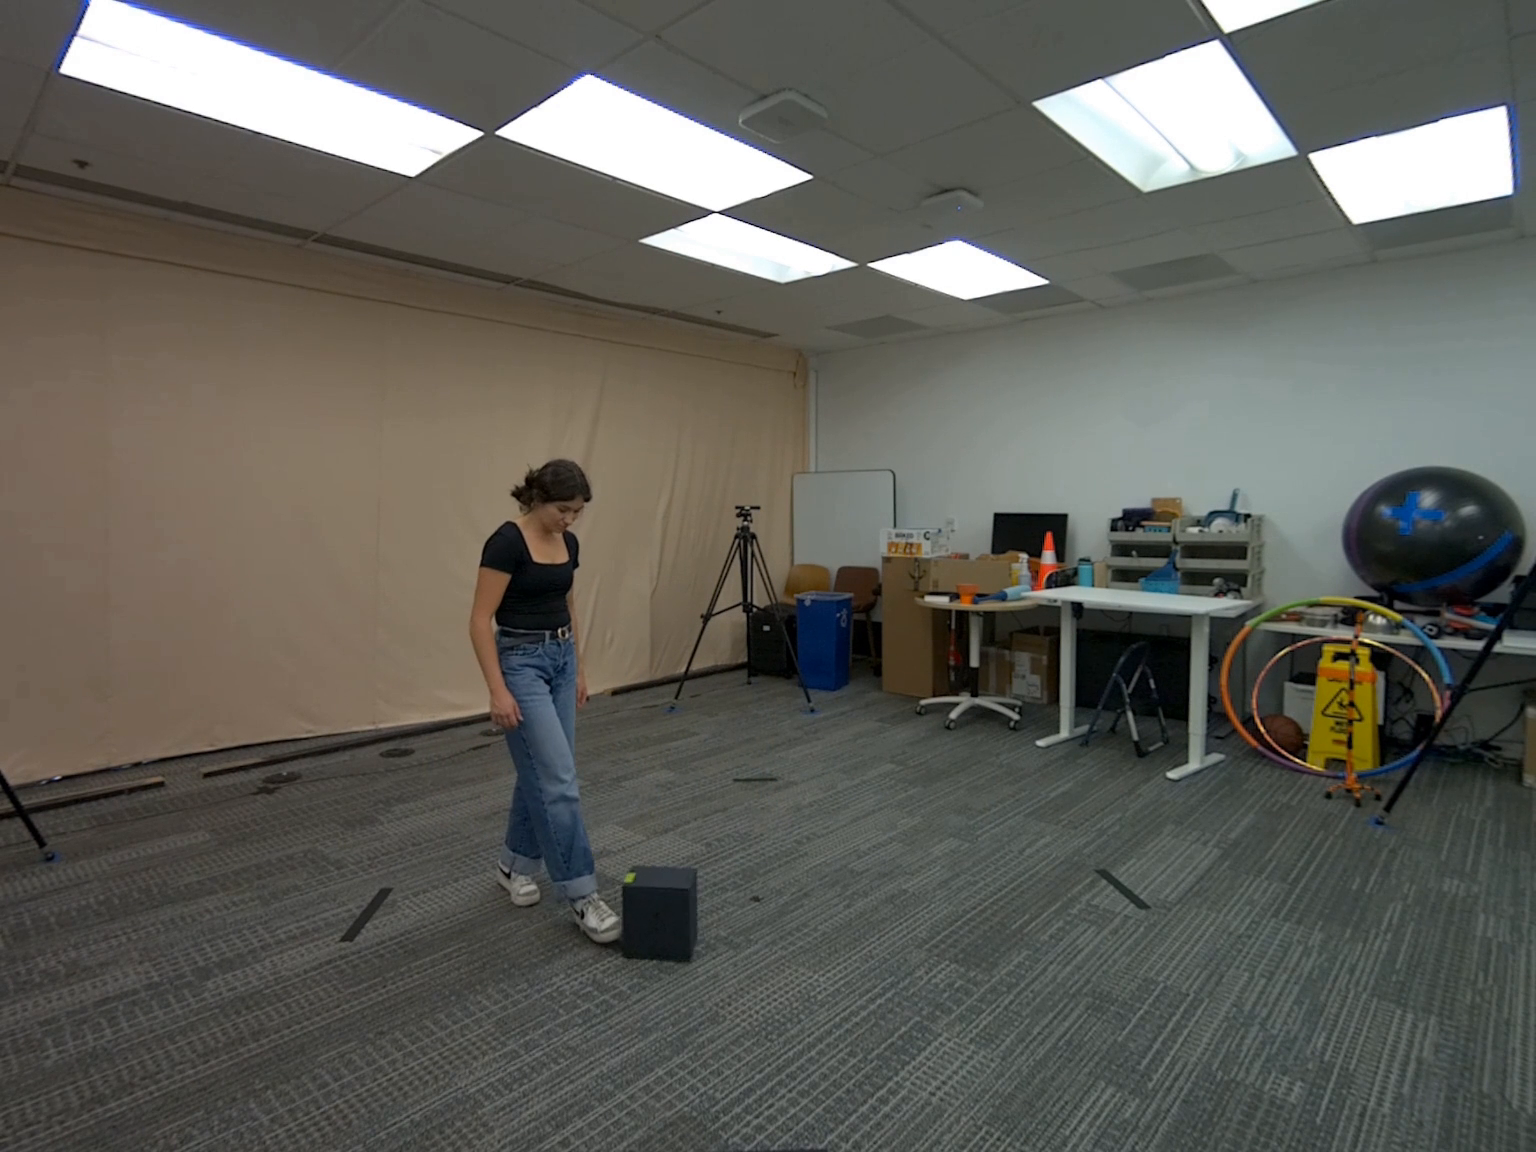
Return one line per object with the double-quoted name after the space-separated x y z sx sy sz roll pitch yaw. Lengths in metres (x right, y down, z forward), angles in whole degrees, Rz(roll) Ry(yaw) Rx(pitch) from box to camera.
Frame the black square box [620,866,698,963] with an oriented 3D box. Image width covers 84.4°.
-0.342 1.055 2.649 0.219 0.227 0.155 0 3 6 "black square box"
